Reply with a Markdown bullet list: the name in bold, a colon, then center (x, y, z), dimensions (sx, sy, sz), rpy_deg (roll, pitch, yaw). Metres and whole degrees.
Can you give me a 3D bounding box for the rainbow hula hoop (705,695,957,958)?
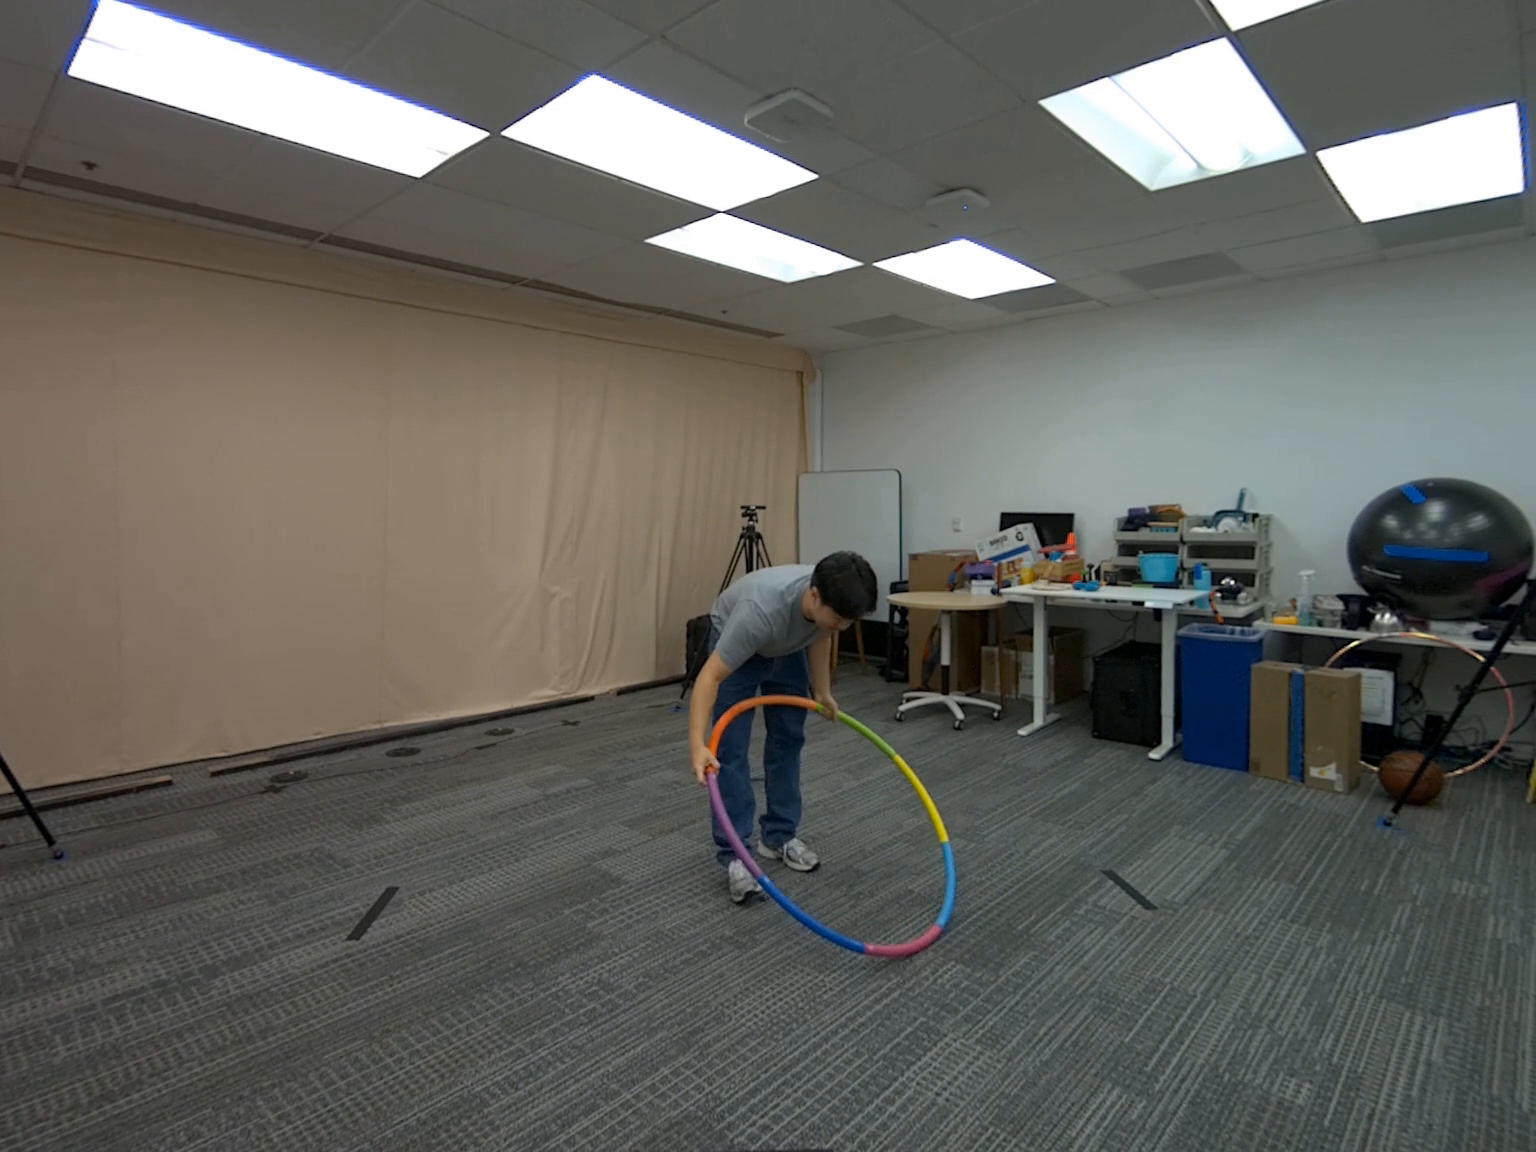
- **rainbow hula hoop**: center (0.250, 0.821, 2.871), dimensions (0.959, 0.035, 0.997), rpy_deg (21, 34, -17)
